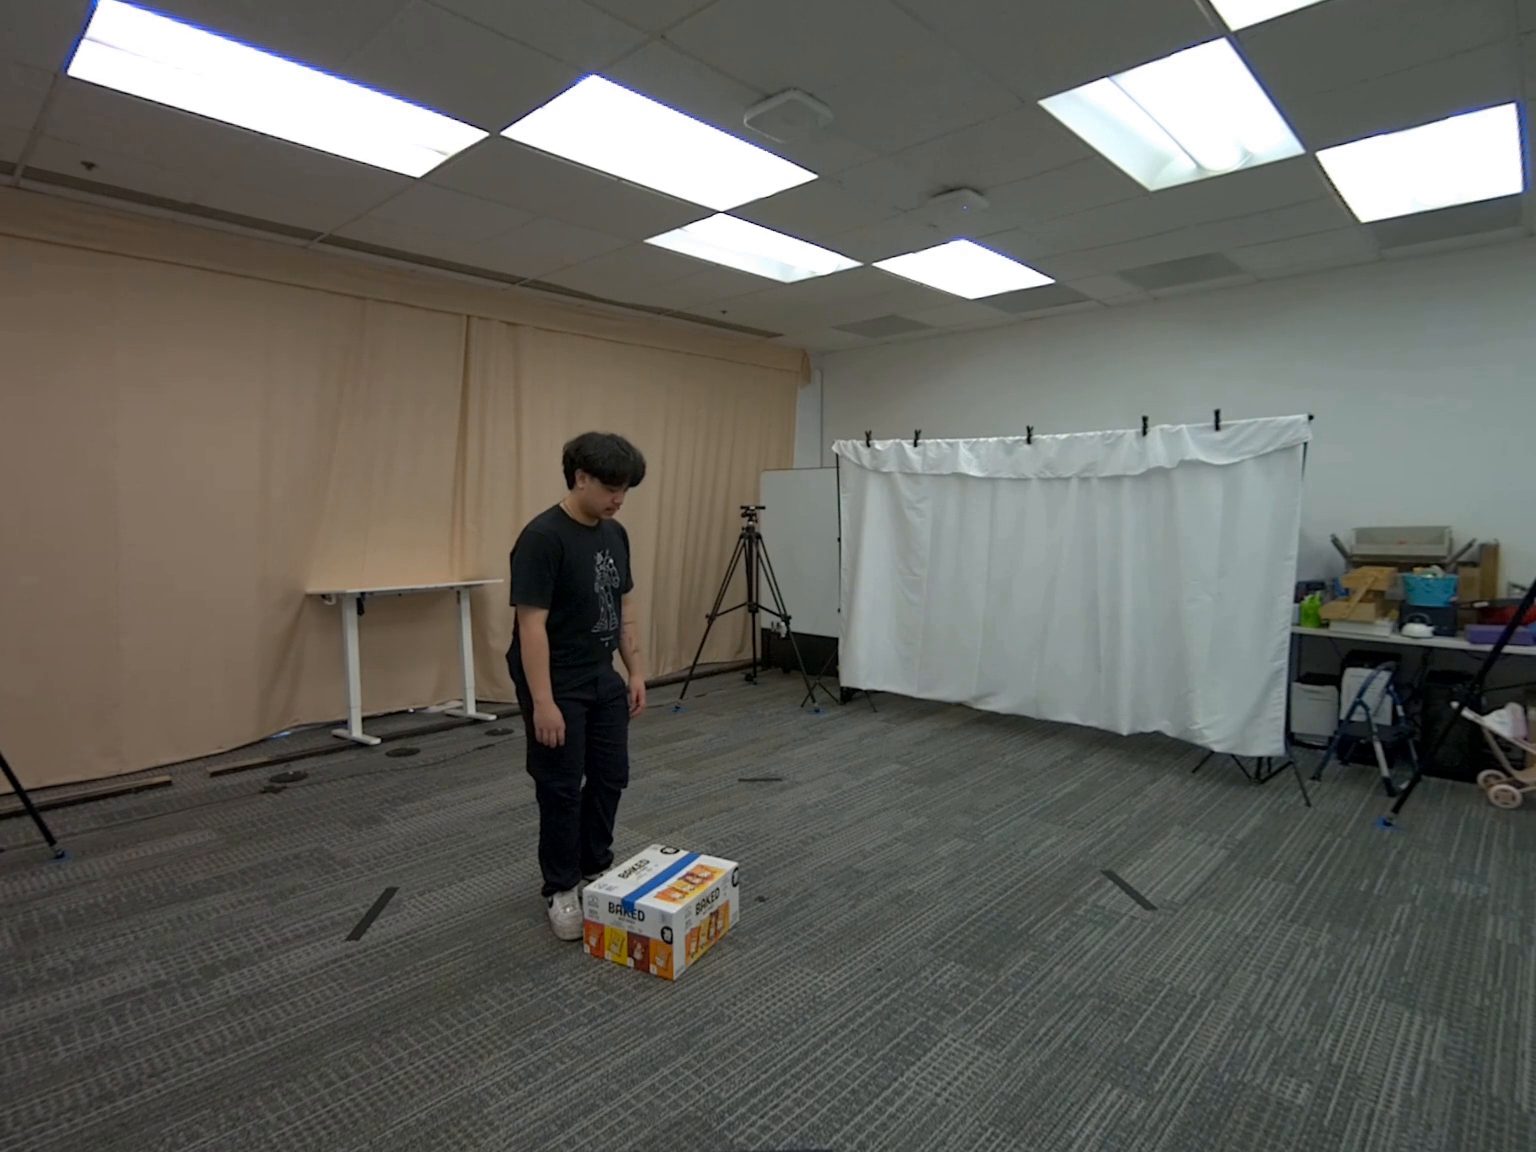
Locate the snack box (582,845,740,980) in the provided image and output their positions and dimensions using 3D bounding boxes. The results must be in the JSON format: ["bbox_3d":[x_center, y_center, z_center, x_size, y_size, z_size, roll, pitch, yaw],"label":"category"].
[{"bbox_3d":[-0.334,1.066,2.713,0.350,0.205,0.395,2,5,28],"label":"snack box"}]
